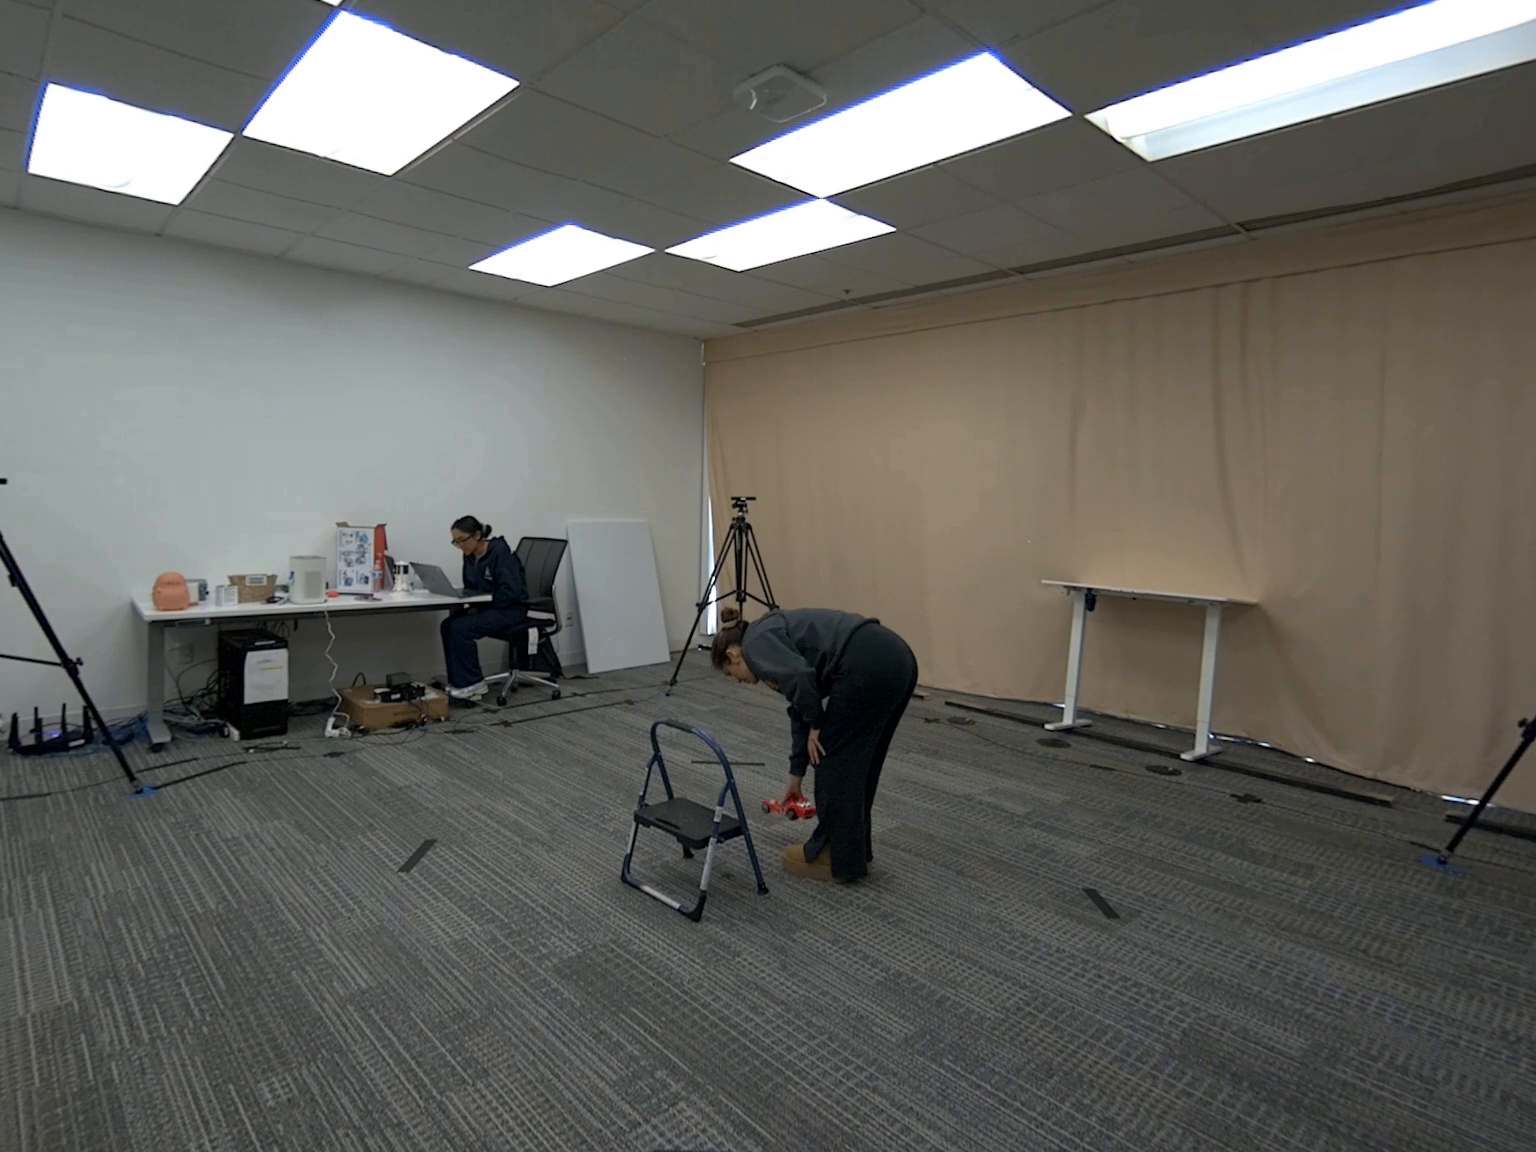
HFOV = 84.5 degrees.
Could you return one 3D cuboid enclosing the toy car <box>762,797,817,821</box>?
[{"bbox_3d":[0.088,0.944,3.432,0.259,0.084,0.126,-15,-19,42],"label":"toy car"}]
